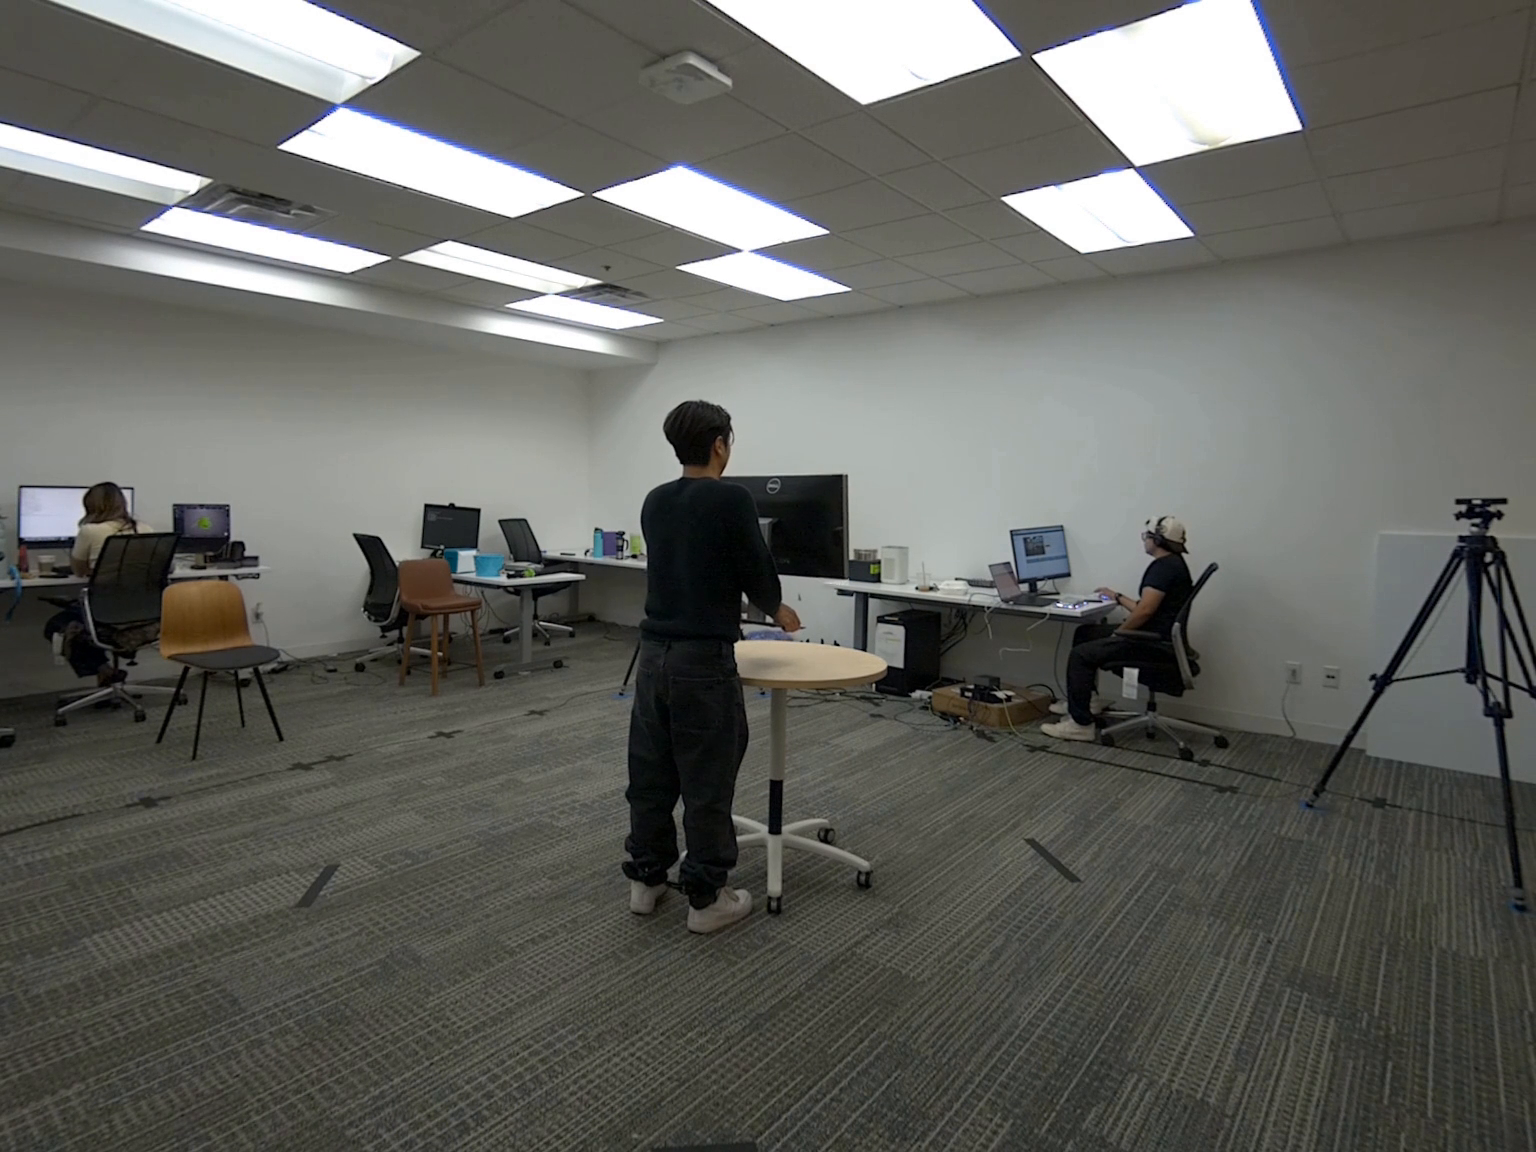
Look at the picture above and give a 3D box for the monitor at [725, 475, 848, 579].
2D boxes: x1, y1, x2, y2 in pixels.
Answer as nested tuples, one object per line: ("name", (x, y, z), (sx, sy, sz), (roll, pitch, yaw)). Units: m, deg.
("monitor", (0.005, -0.100, 3.031), (0.556, 0.524, 0.180), (3, -4, 36))
